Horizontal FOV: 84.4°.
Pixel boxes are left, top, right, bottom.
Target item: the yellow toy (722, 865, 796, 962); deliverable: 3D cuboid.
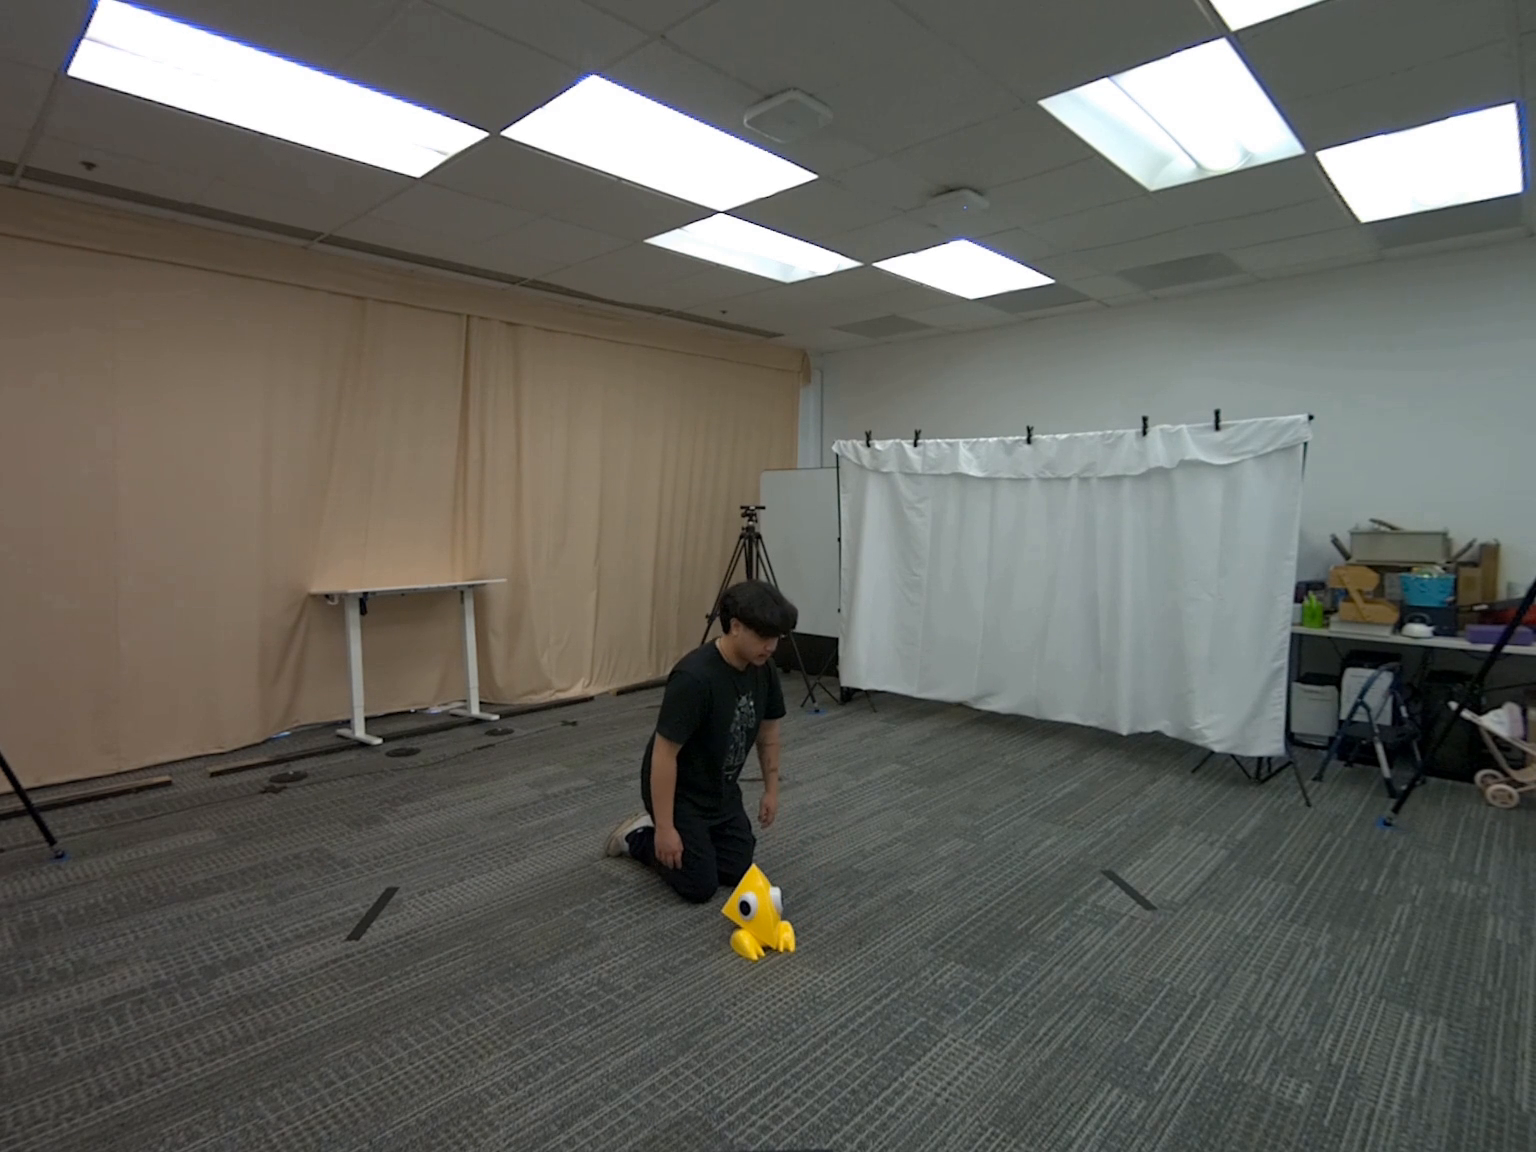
[{"bbox_3d":[-0.018,1.056,2.681,0.200,0.230,0.198,-2,4,-25],"label":"yellow toy"}]
